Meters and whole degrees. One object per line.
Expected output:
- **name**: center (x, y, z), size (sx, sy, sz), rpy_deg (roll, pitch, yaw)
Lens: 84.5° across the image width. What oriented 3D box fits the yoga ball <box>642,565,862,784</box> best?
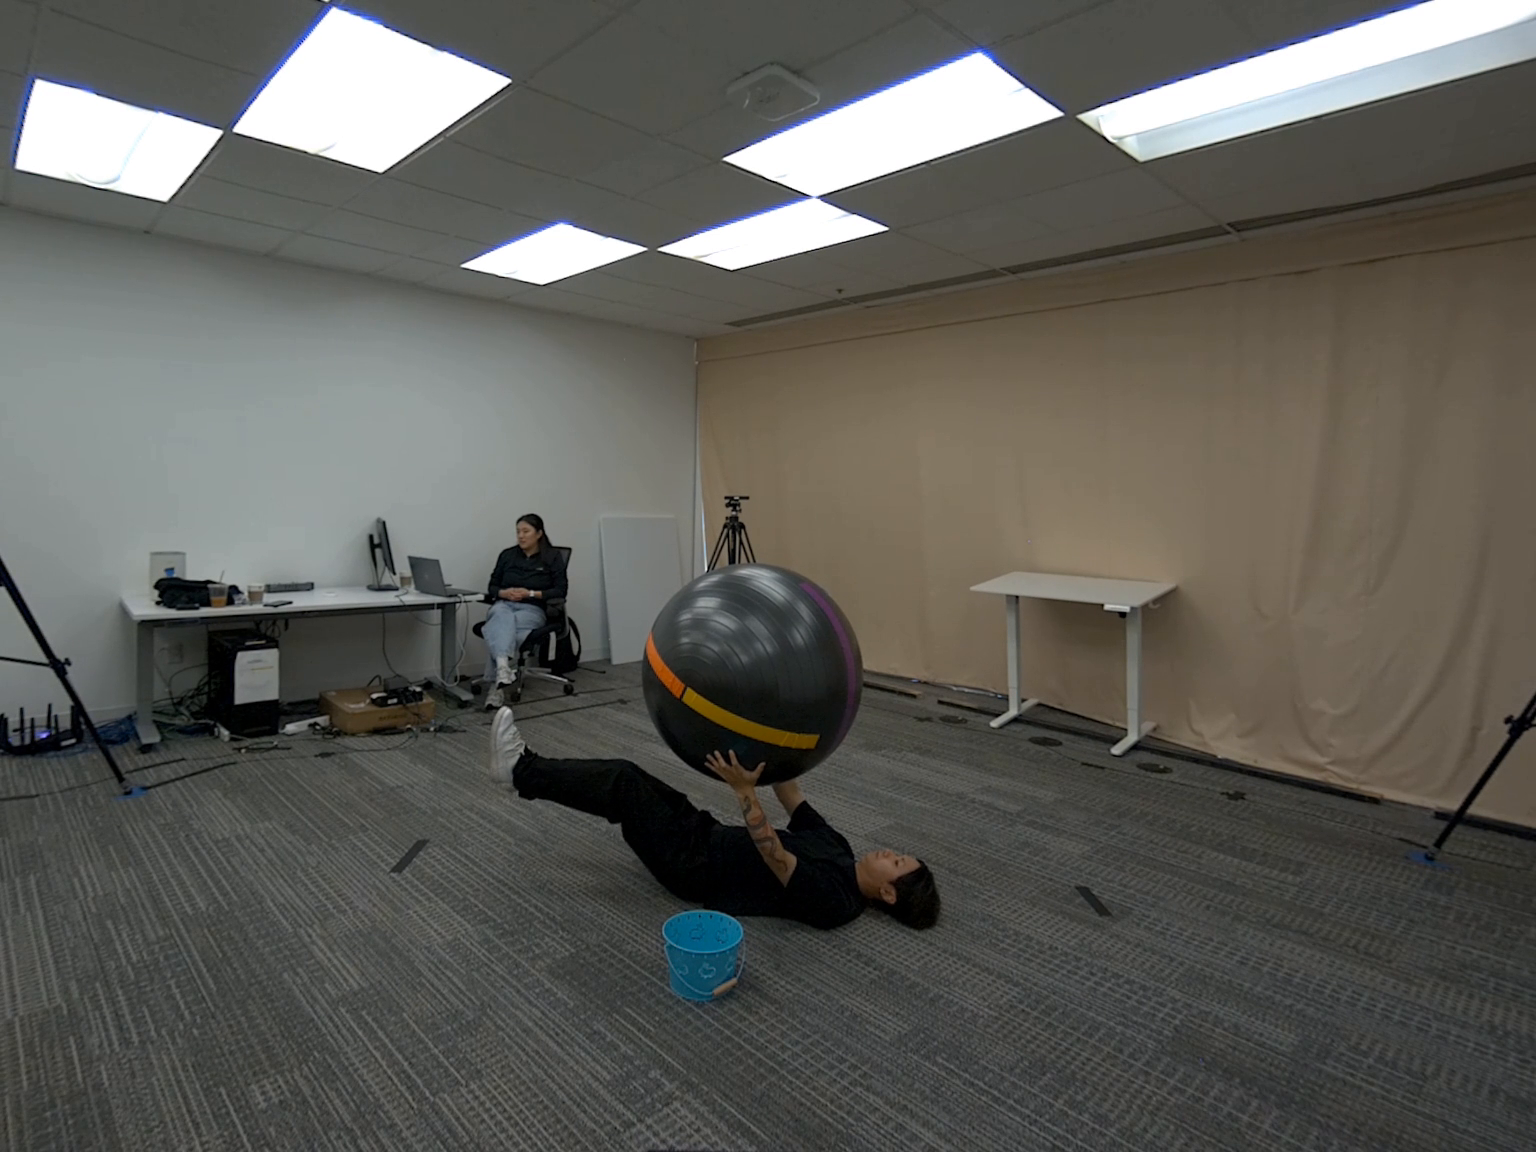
- **yoga ball**: center (-0.055, 0.342, 2.916), size (0.757, 0.756, 0.761), rpy_deg (1, 4, -1)
